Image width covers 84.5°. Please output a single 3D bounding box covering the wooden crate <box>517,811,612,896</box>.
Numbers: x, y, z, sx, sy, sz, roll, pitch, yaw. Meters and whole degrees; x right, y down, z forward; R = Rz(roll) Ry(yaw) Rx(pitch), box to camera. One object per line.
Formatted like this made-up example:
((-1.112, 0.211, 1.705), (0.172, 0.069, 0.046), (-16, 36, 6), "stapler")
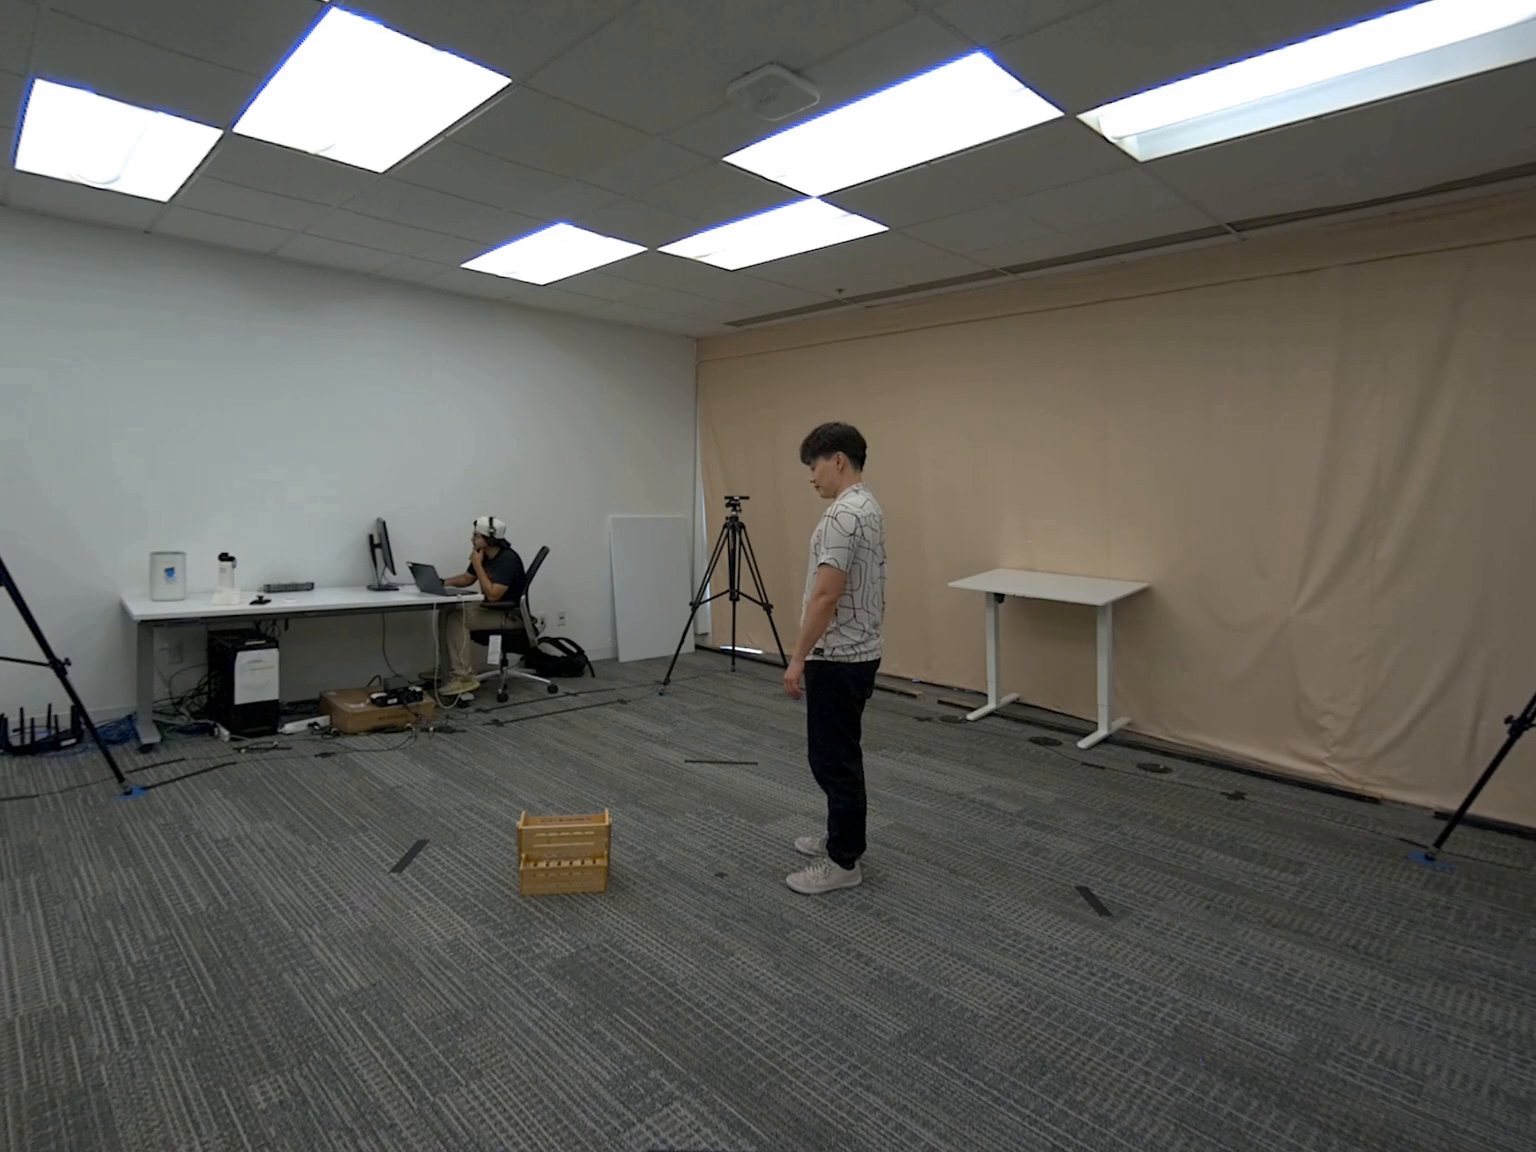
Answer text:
((-0.742, 0.963, 3.026), (0.321, 0.272, 0.306), (0, 5, -11), "wooden crate")
